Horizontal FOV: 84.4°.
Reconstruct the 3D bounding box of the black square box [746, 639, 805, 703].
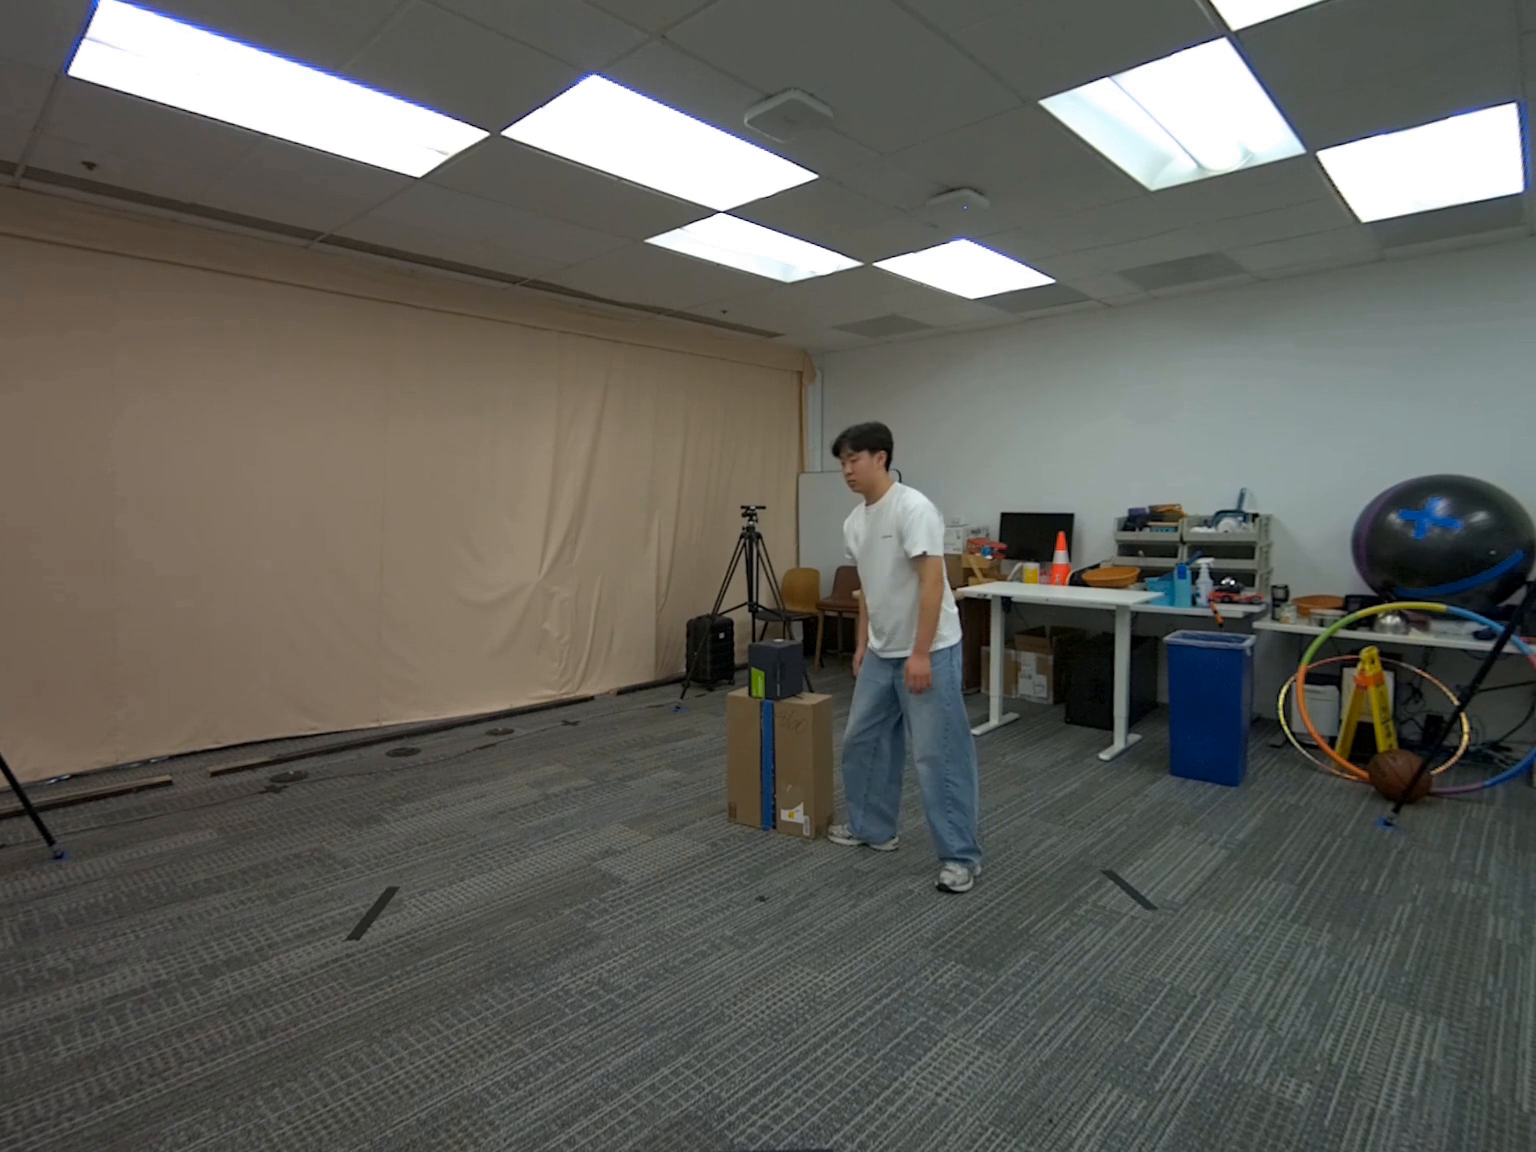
[{"bbox_3d":[0.032,0.405,3.678,0.161,0.227,0.211,2,3,33],"label":"black square box"}]
